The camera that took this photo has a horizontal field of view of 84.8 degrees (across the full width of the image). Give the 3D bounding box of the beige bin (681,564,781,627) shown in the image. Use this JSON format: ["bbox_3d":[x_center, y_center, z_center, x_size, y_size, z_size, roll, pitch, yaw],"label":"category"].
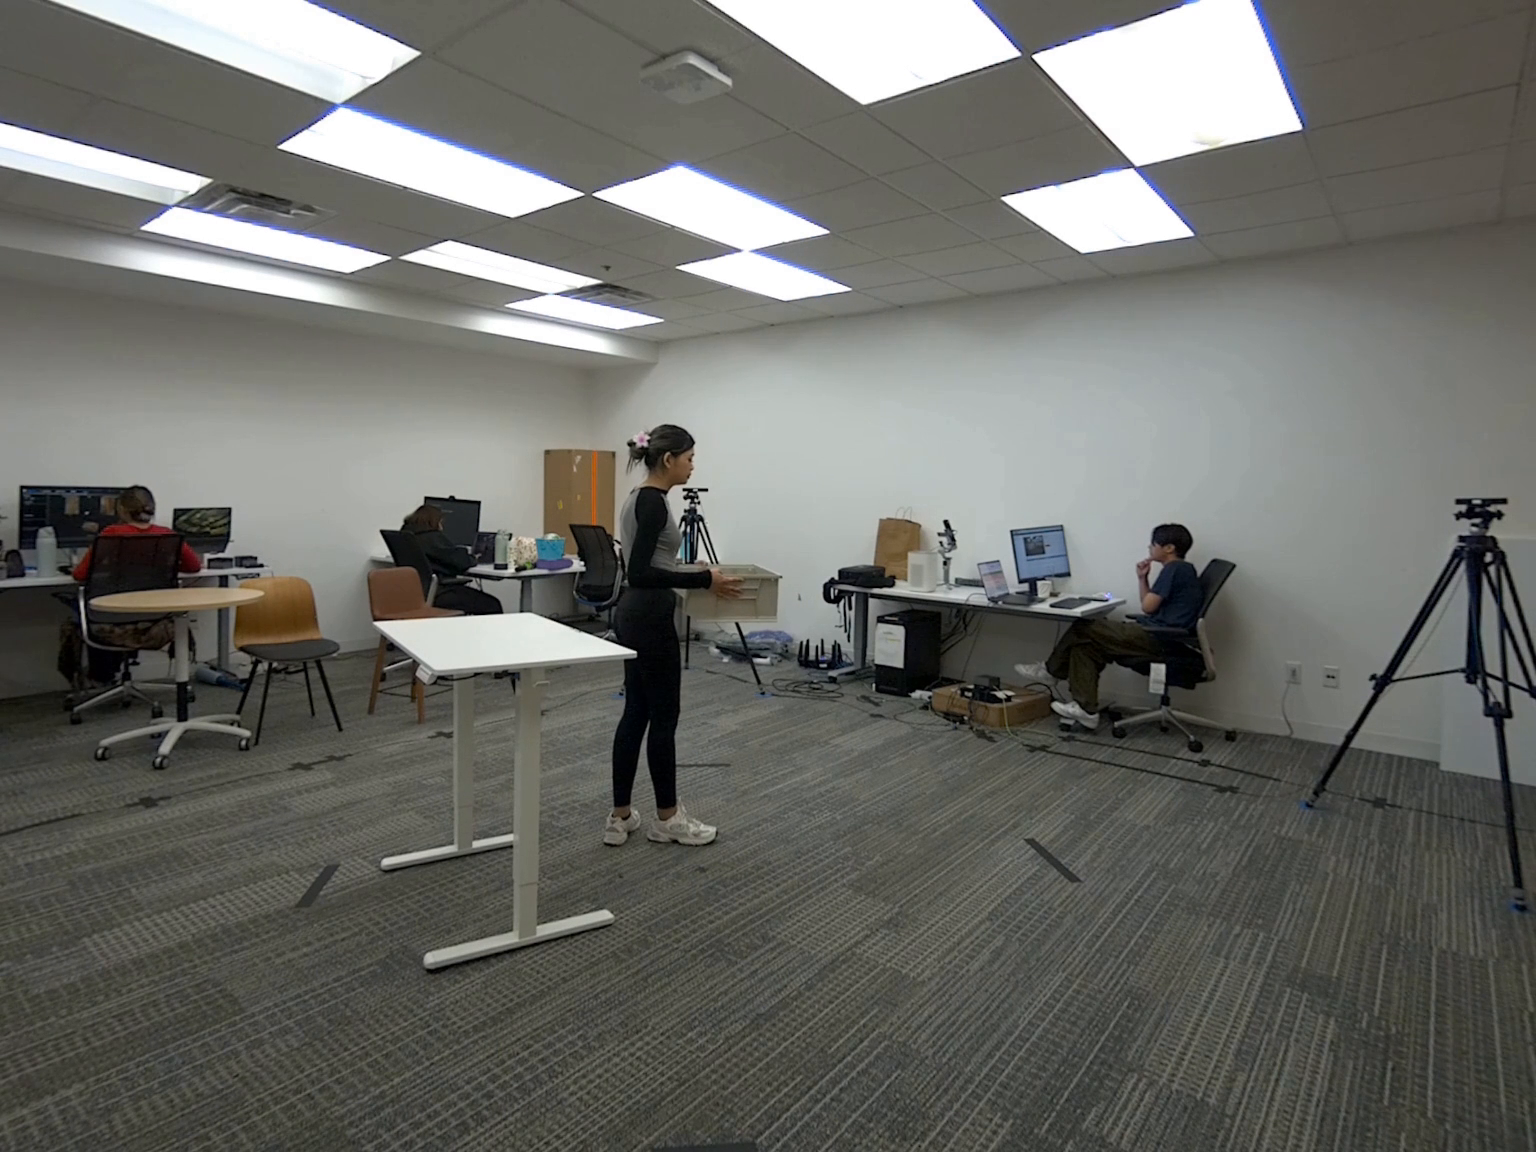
[{"bbox_3d":[-0.193,0.061,3.389,0.372,0.188,0.430,1,5,-13],"label":"beige bin"}]
